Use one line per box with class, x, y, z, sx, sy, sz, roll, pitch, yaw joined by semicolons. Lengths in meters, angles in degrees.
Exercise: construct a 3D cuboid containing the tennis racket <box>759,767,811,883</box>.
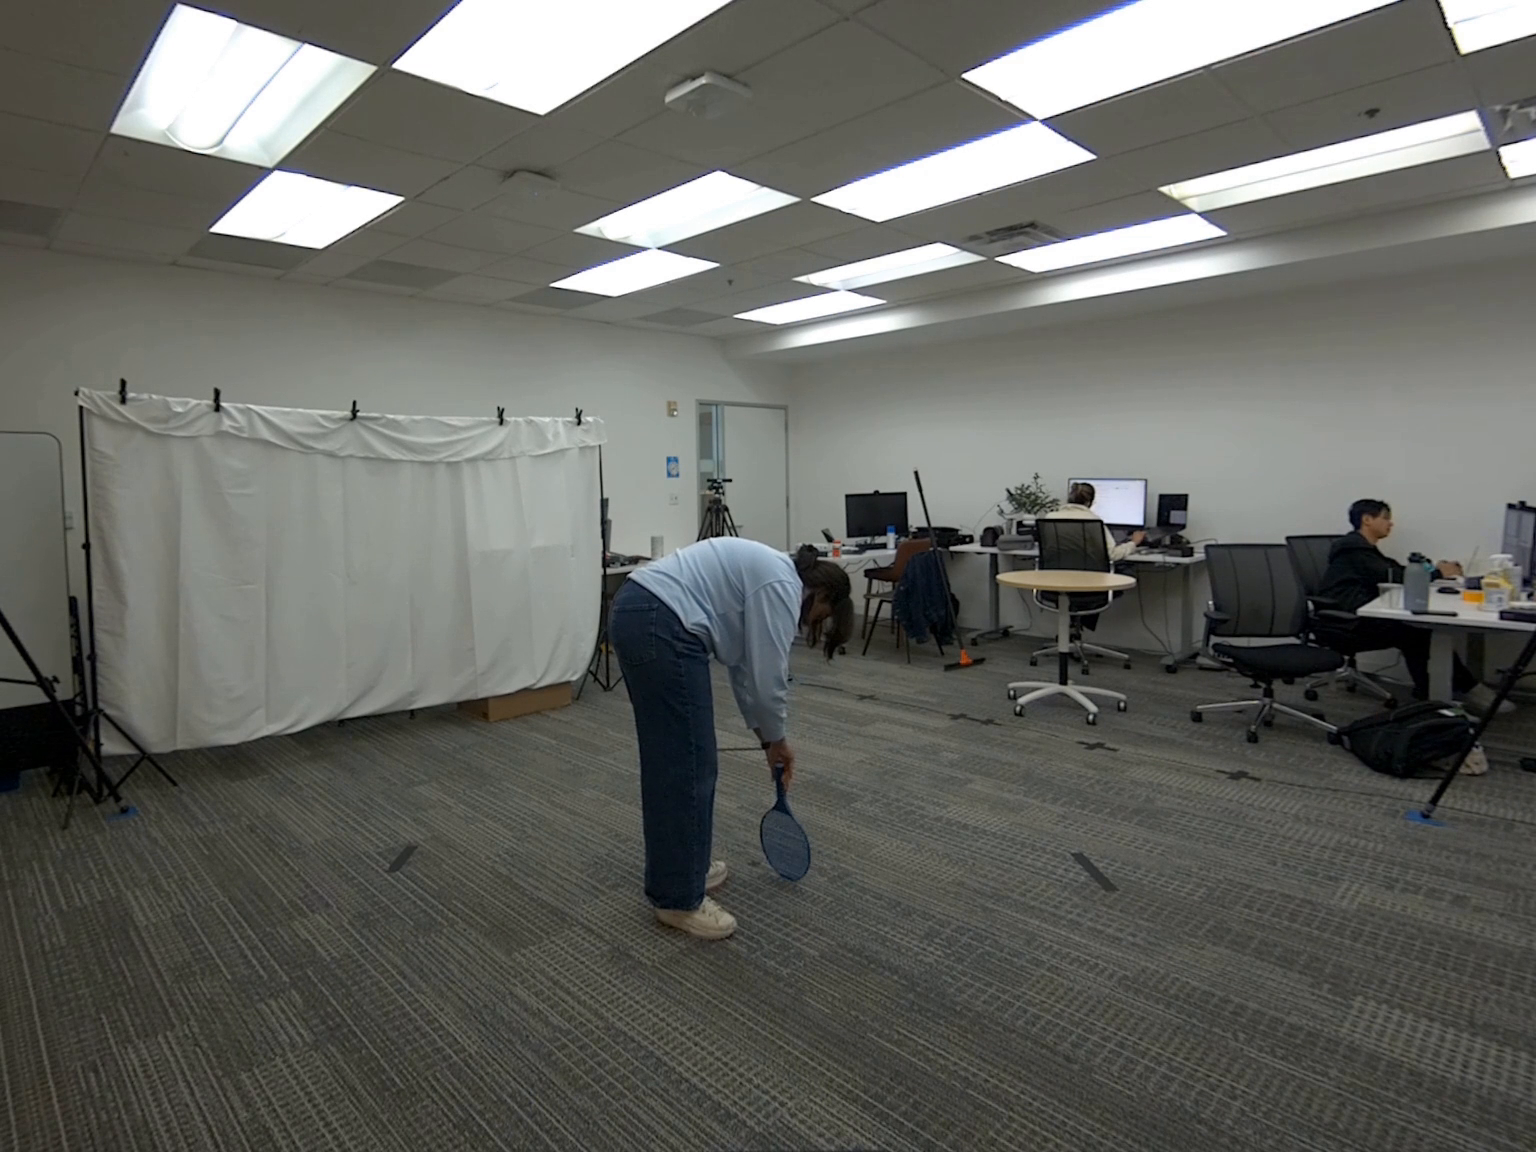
tennis racket;0.051;0.849;2.937;0.221;0.427;0.031;8;18;41
